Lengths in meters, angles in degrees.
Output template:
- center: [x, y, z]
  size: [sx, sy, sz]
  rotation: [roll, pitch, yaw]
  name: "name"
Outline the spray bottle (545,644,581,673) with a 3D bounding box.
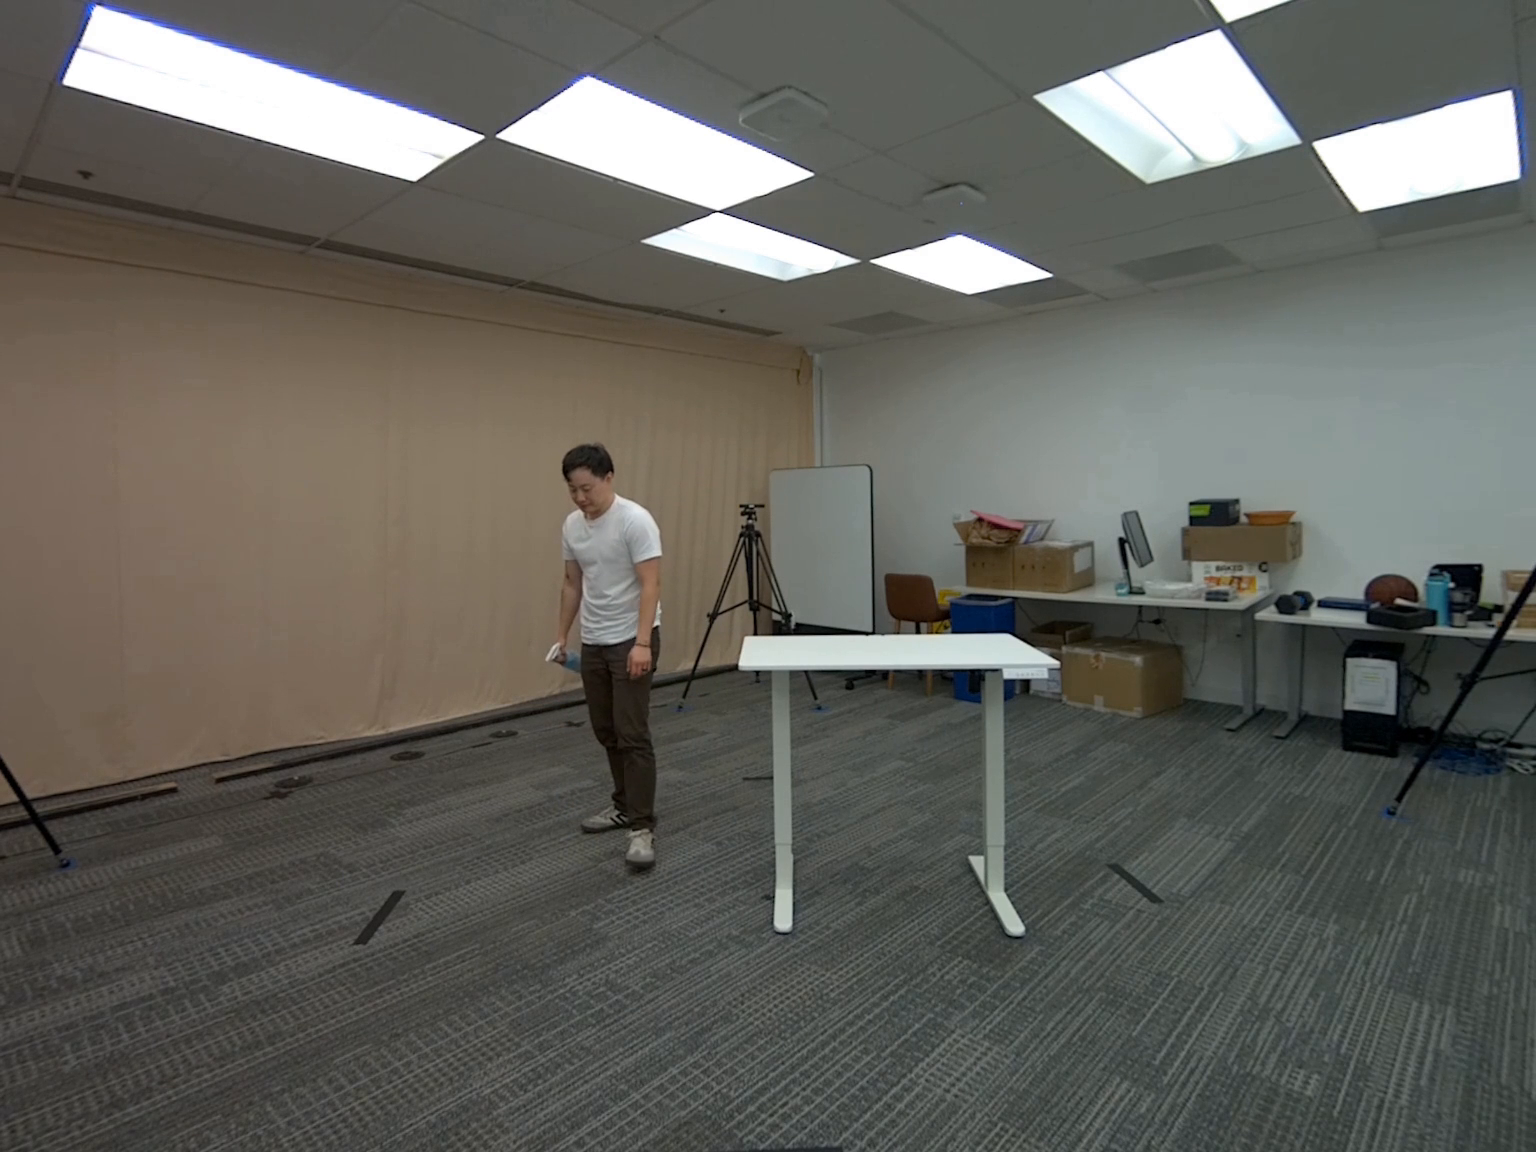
- center: [-0.894, 0.367, 3.745]
  size: [0.090, 0.089, 0.290]
  rotation: [-40, -22, 0]
  name: "spray bottle"
